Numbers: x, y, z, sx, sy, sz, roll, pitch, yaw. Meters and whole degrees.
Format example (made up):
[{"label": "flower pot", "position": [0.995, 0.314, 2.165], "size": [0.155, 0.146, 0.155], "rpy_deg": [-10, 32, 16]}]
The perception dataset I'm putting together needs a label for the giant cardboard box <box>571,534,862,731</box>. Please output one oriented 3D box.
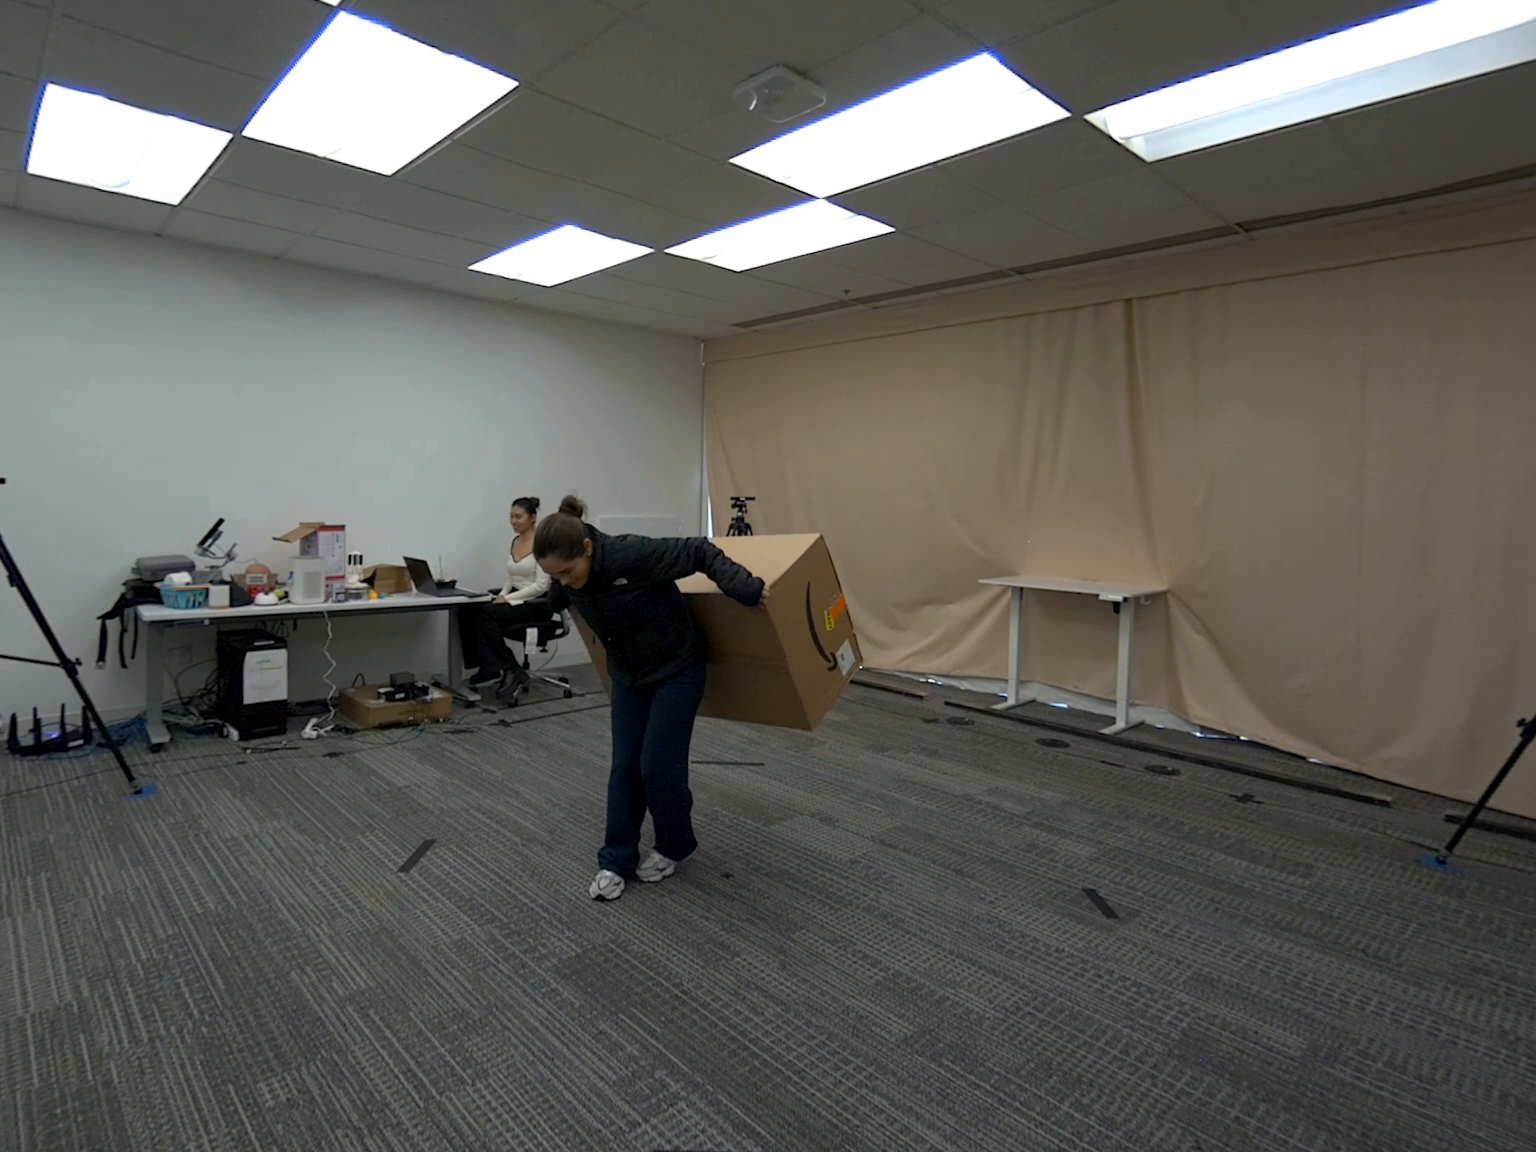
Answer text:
[{"label": "giant cardboard box", "position": [-0.229, 0.197, 3.300], "size": [1.049, 0.566, 0.425], "rpy_deg": [0, 29, 38]}]
